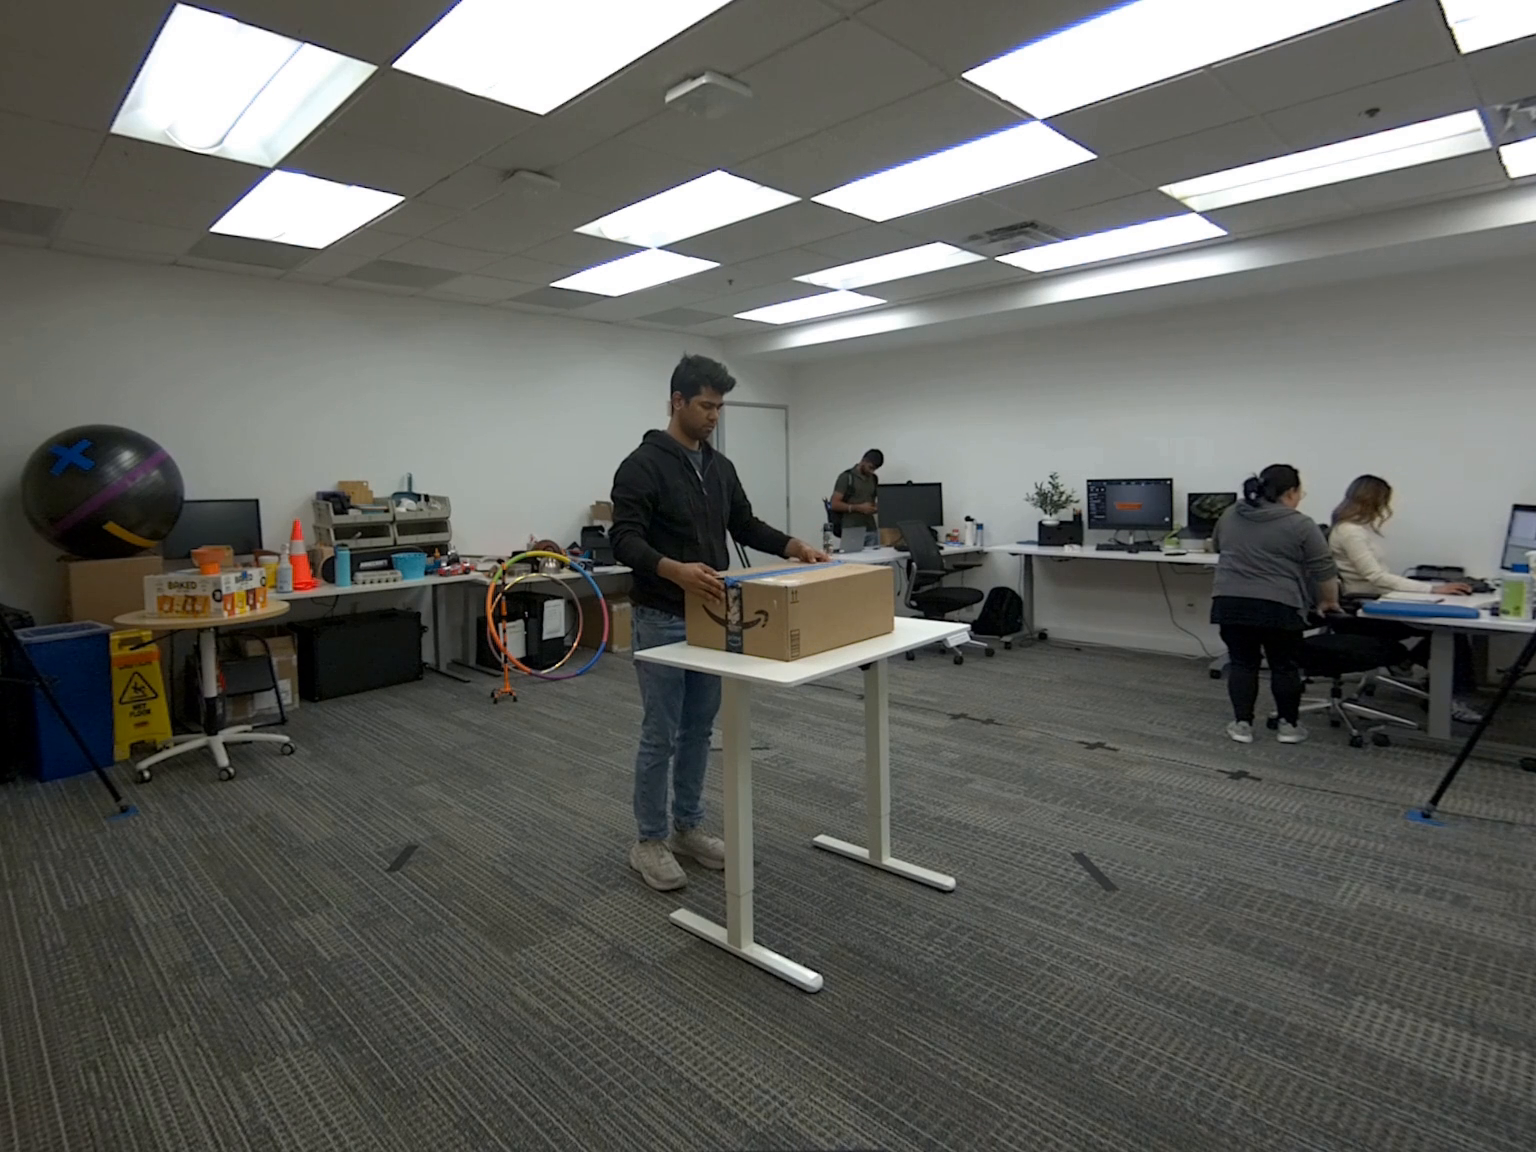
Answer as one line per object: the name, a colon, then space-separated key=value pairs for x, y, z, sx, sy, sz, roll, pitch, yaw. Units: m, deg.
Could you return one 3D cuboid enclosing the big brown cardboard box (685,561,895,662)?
big brown cardboard box: x=0.071 y=0.092 z=2.738 sx=0.430 sy=0.232 sz=0.574 roll=4 pitch=8 yaw=42
